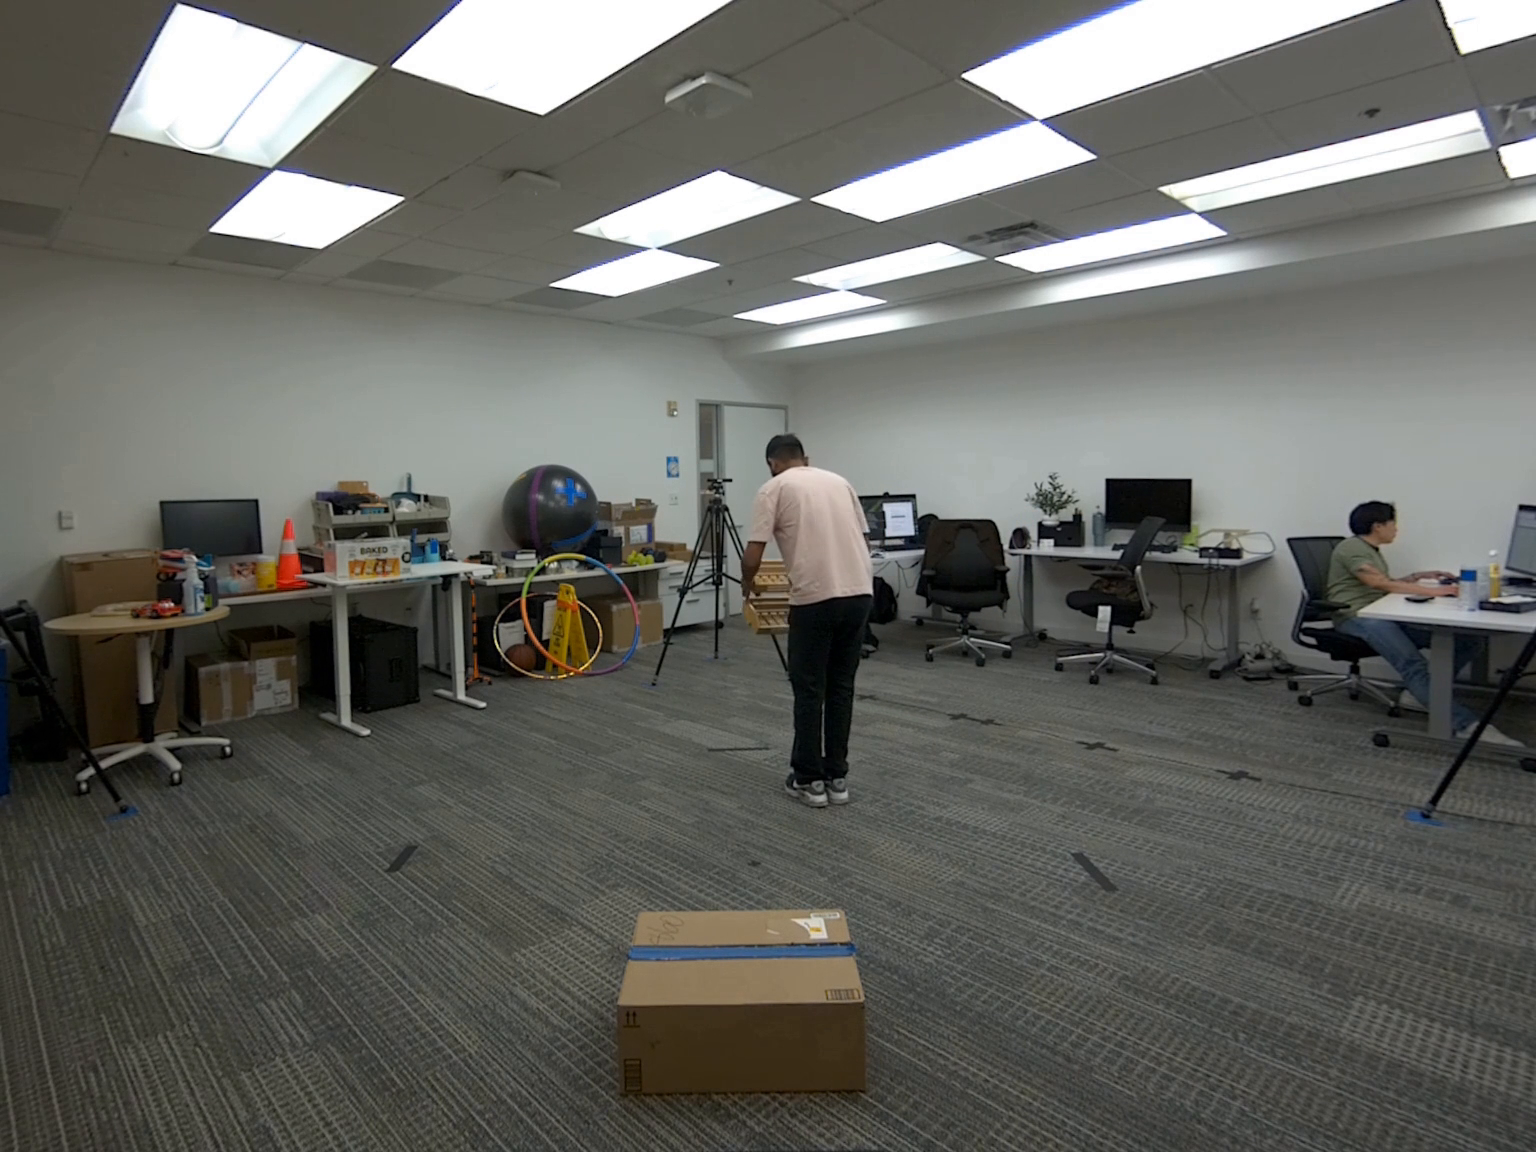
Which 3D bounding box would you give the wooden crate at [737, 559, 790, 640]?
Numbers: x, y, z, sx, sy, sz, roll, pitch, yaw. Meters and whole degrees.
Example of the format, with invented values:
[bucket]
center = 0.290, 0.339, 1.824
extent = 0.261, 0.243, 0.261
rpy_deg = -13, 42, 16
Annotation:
[wooden crate]
center = 0.067, 0.099, 3.953
extent = 0.319, 0.269, 0.311
rpy_deg = 0, 18, -17
